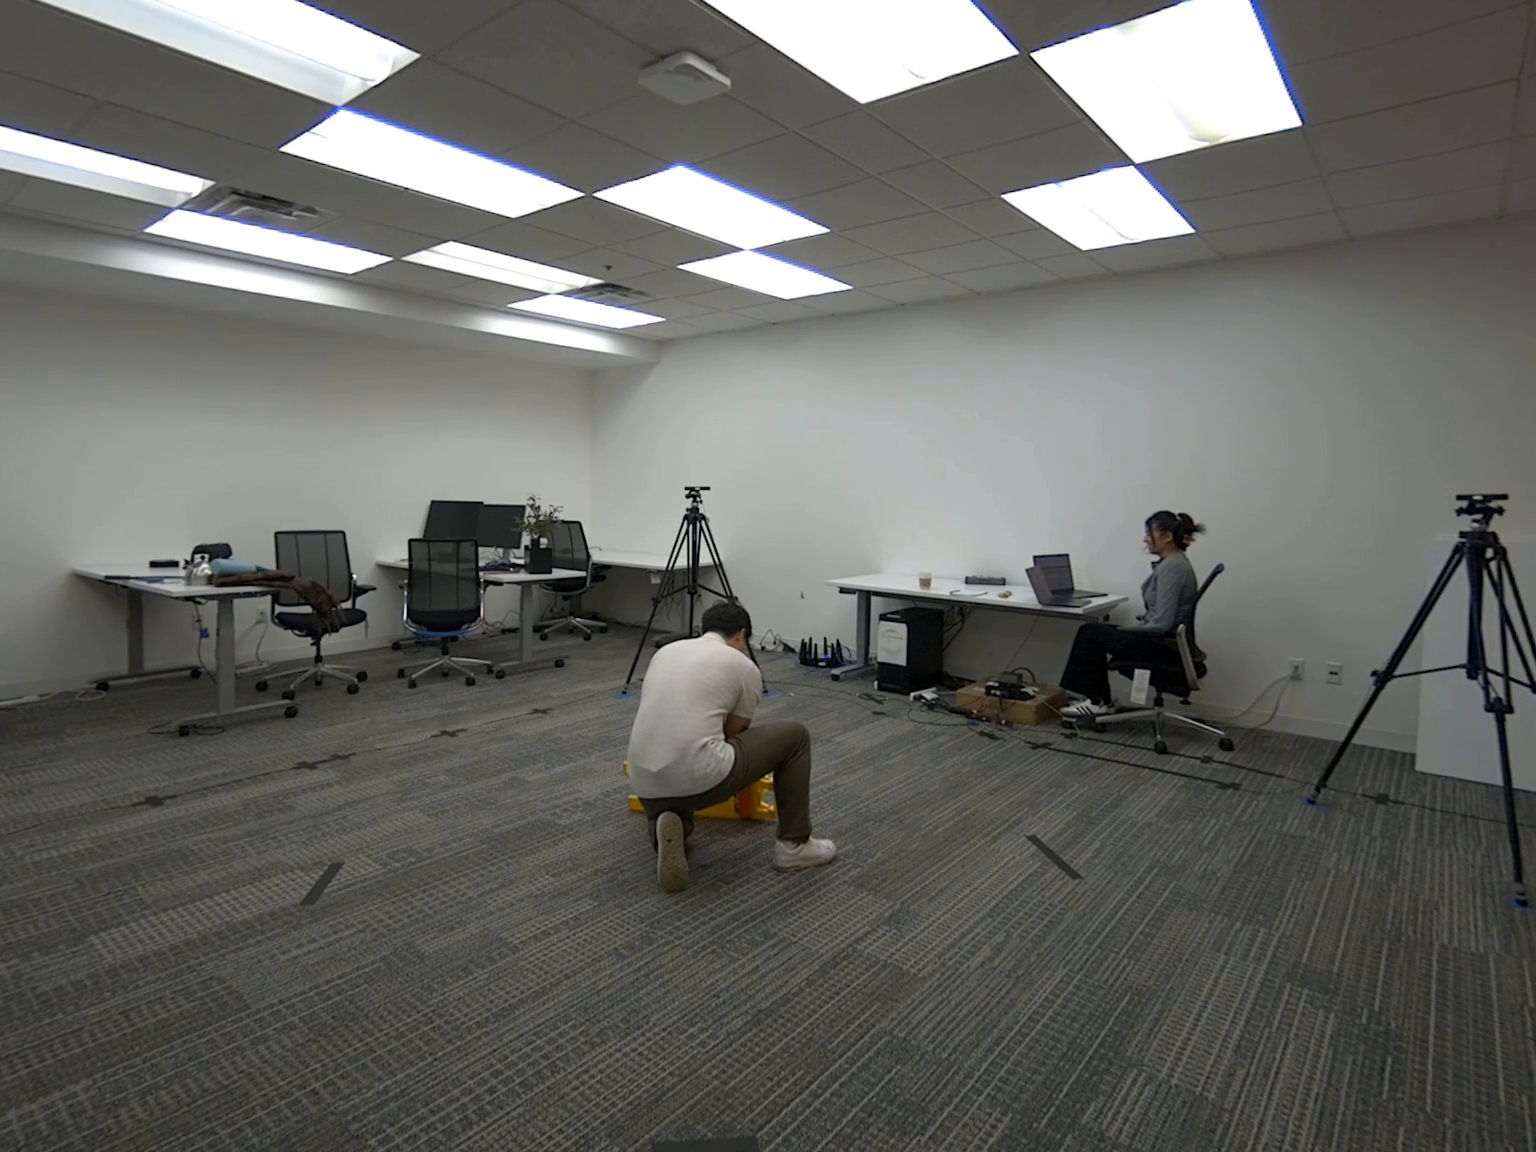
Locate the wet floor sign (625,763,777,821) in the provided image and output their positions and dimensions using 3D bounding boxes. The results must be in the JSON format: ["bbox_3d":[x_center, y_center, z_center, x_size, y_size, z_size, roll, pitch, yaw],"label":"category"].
[{"bbox_3d":[-0.267,0.872,3.597,0.661,0.275,0.290,8,29,19],"label":"wet floor sign"}]
